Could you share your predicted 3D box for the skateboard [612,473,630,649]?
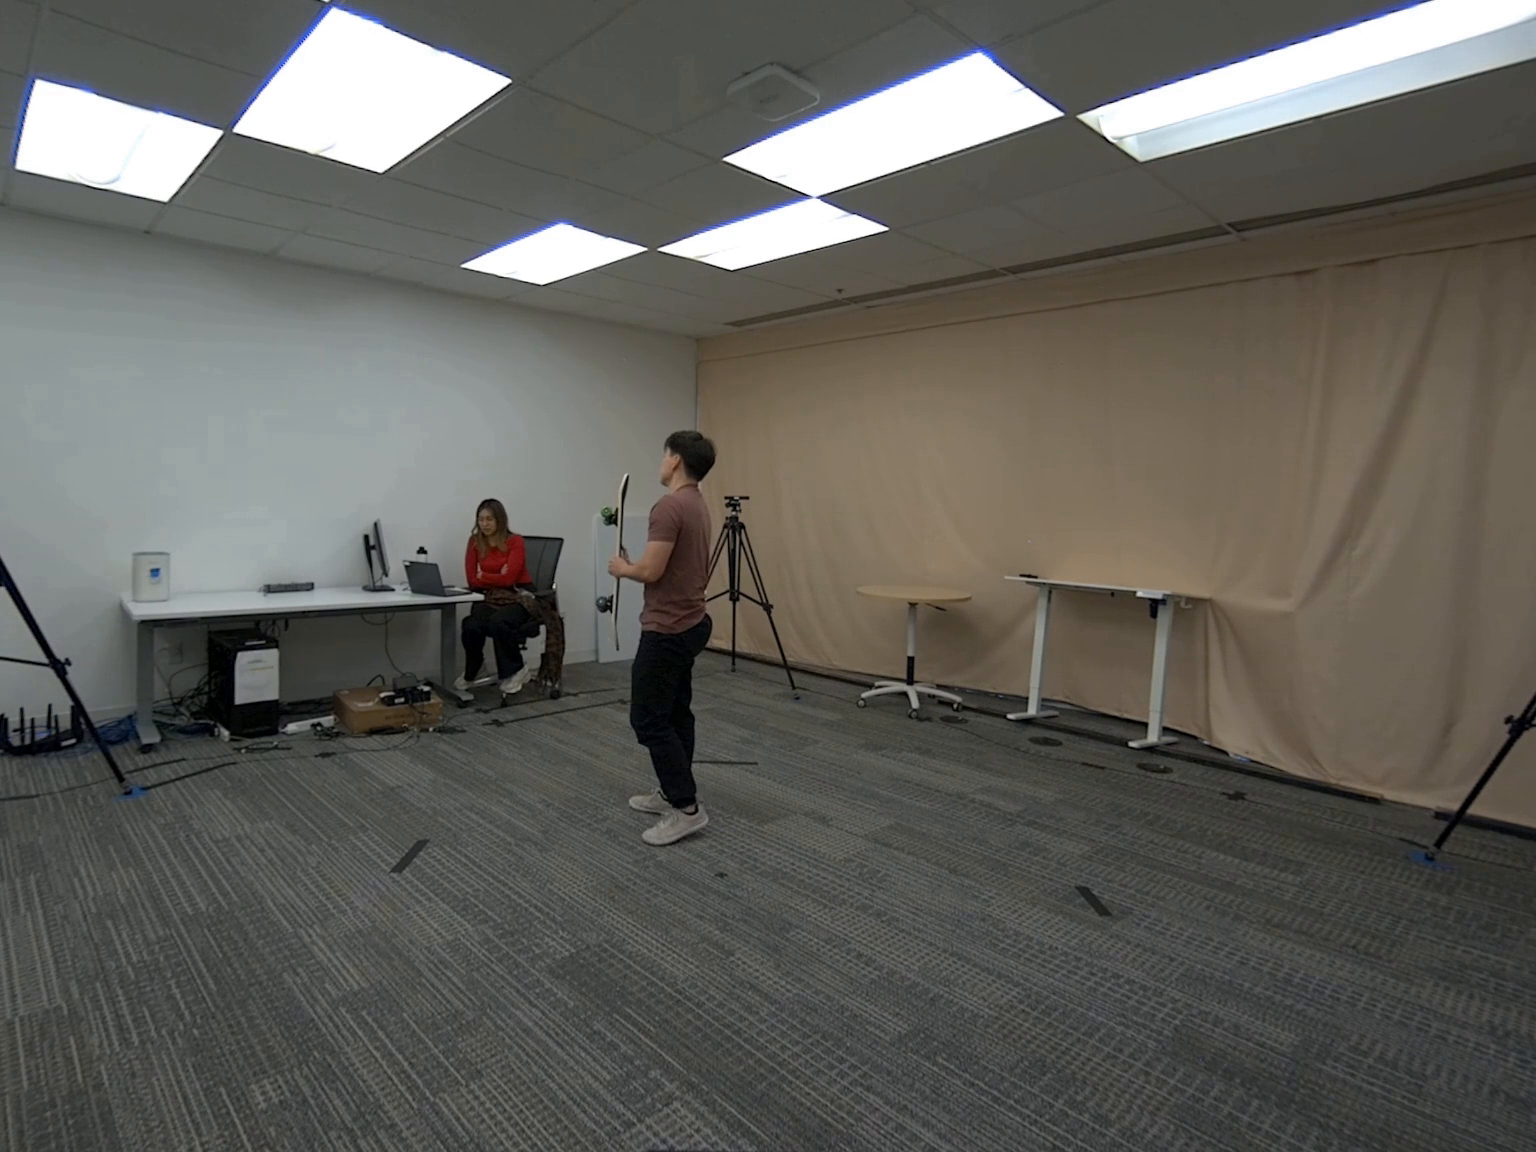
[{"bbox_3d":[-0.692,-0.070,3.699,0.110,0.793,0.193,3,-13,-8],"label":"skateboard"}]
